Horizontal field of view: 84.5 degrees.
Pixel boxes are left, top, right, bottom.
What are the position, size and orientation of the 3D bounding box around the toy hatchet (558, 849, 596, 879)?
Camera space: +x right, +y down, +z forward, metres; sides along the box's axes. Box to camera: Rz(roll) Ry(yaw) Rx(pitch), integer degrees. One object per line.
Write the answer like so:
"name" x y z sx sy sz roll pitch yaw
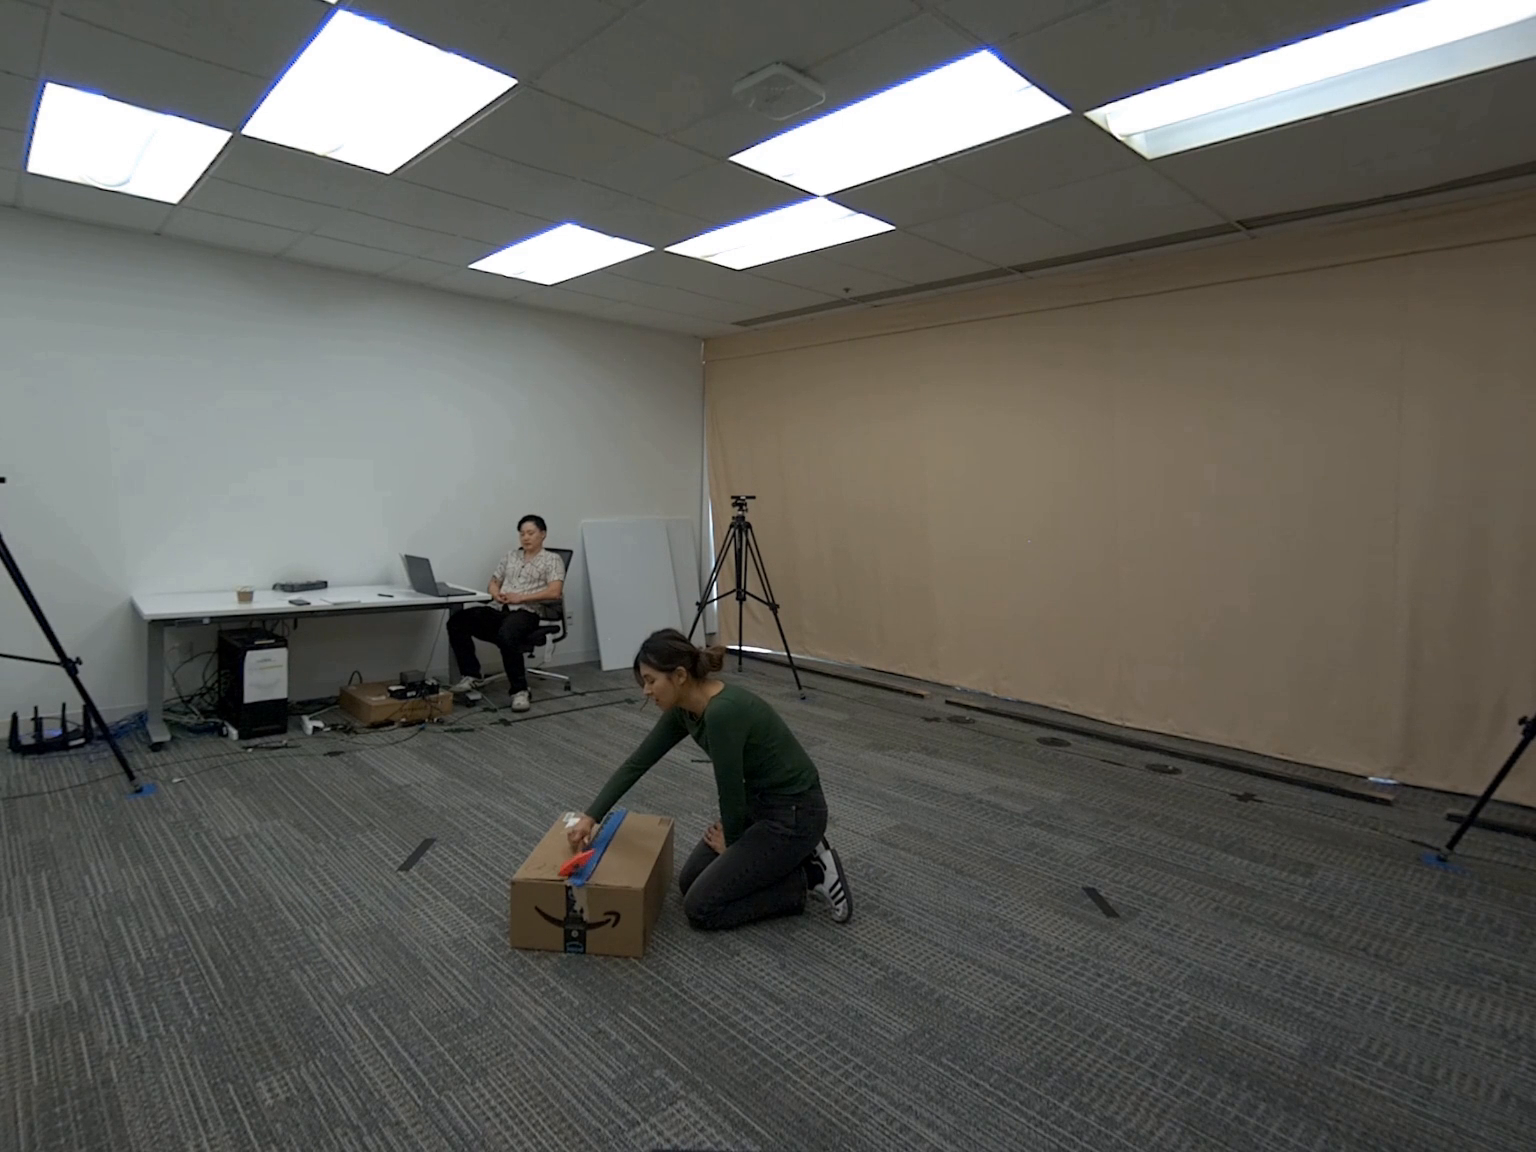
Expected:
"toy hatchet" -0.626 0.881 2.671 0.130 0.029 0.273 -33 10 -19
